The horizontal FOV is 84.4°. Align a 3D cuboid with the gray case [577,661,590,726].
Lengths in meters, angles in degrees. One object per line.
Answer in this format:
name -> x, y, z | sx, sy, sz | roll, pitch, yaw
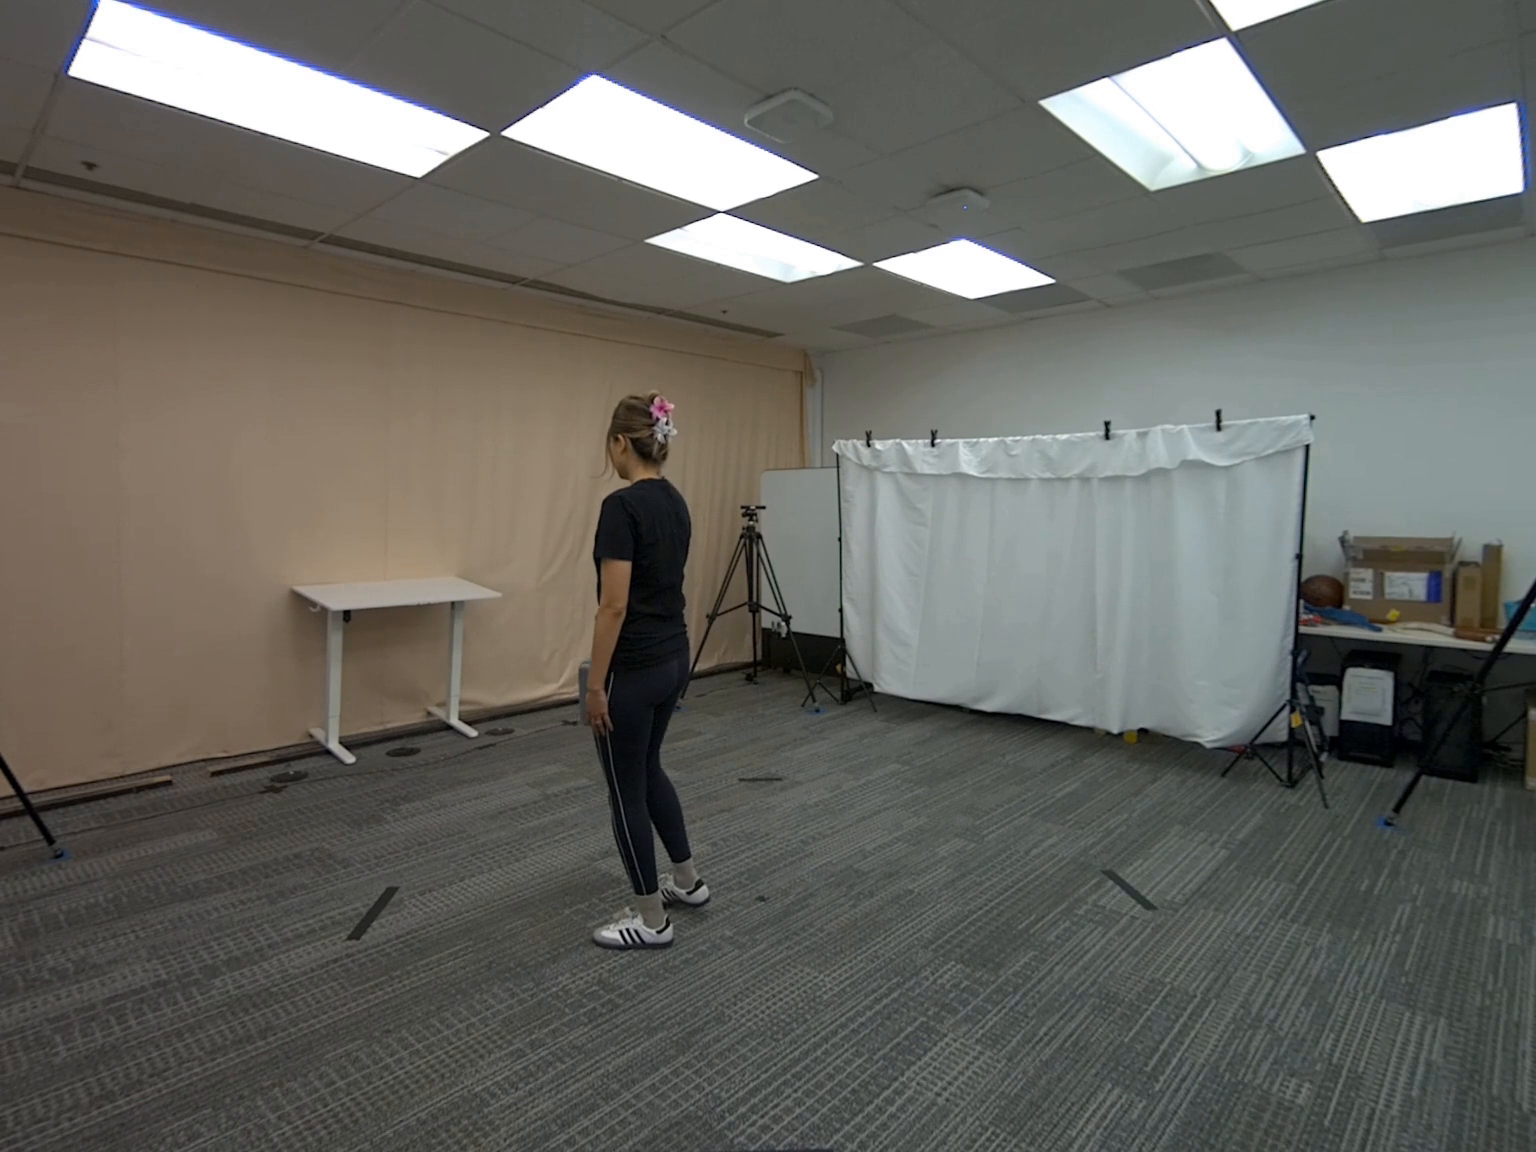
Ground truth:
gray case -> -0.575, 0.435, 3.104 | 0.262, 0.258, 0.103 | 6, 13, 18
